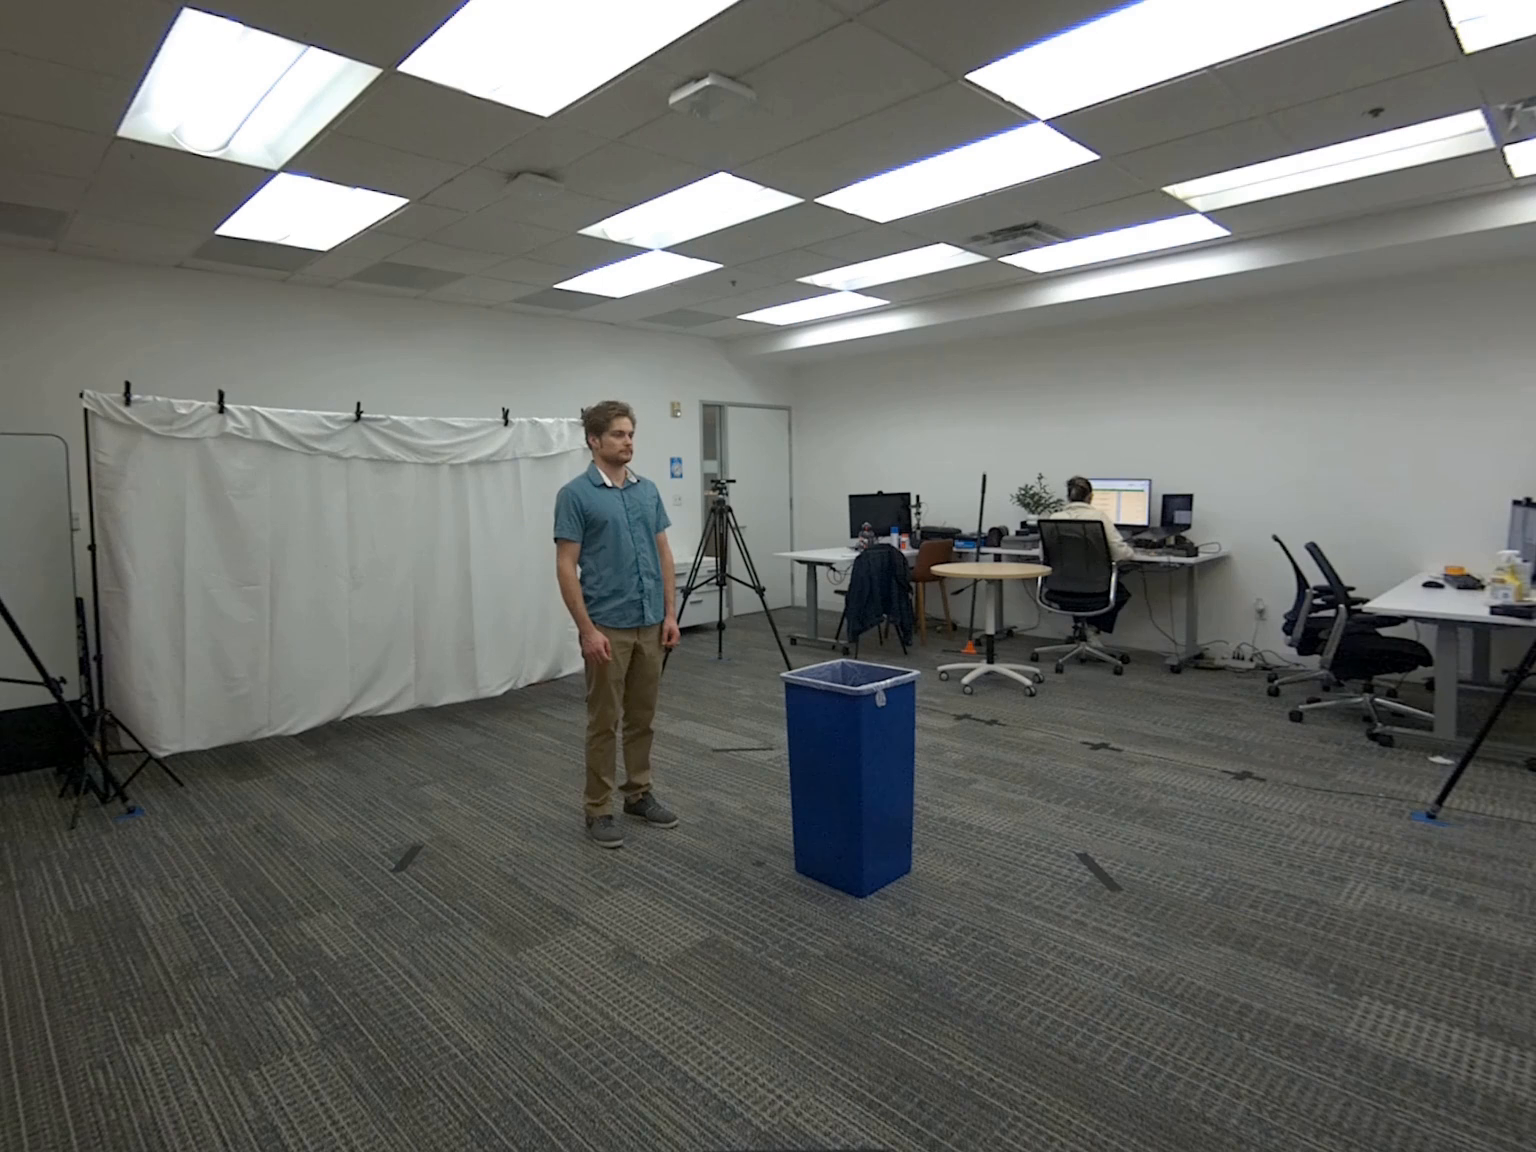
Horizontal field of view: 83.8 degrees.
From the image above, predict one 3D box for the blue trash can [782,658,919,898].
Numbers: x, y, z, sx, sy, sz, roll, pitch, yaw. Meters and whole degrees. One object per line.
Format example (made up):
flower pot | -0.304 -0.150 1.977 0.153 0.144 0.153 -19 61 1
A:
blue trash can | 0.299 0.696 3.012 0.389 0.712 0.364 2 3 44
